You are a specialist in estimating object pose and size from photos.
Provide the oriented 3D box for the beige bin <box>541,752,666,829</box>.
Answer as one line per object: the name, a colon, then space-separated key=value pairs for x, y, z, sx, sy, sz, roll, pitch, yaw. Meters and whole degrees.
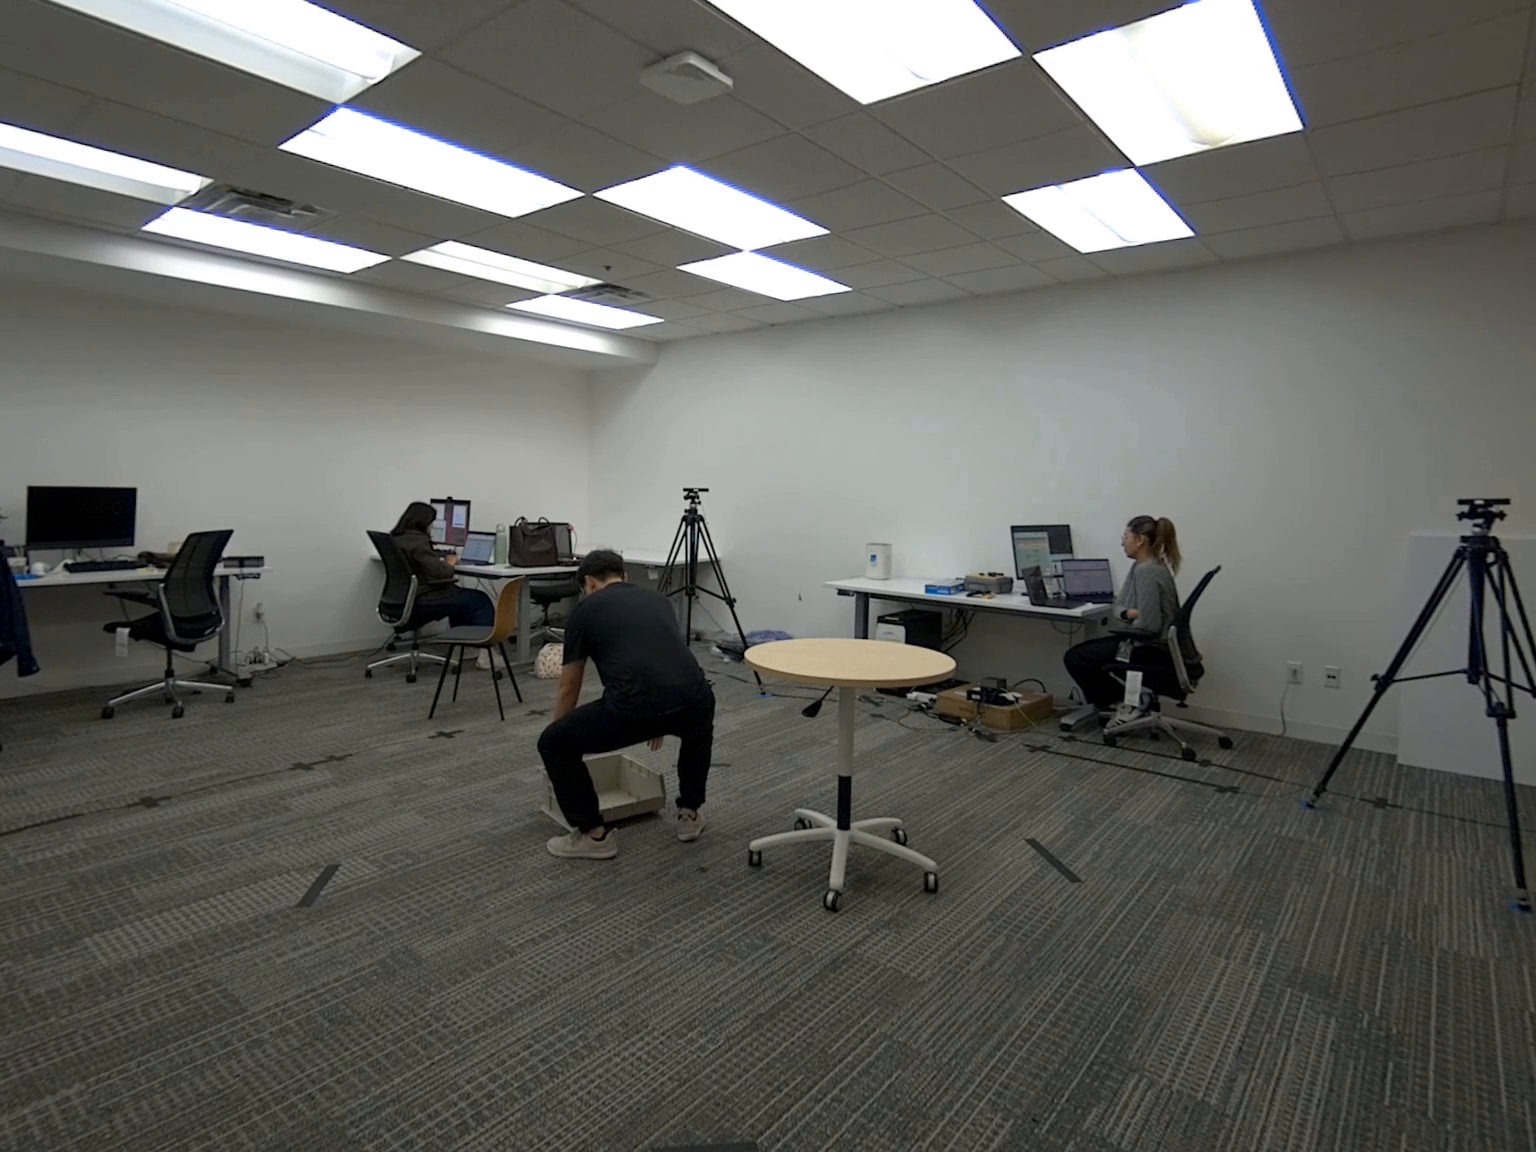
beige bin: x=-0.720 y=0.921 z=3.642 sx=0.410 sy=0.188 sz=0.390 roll=-3 pitch=6 yaw=-38
